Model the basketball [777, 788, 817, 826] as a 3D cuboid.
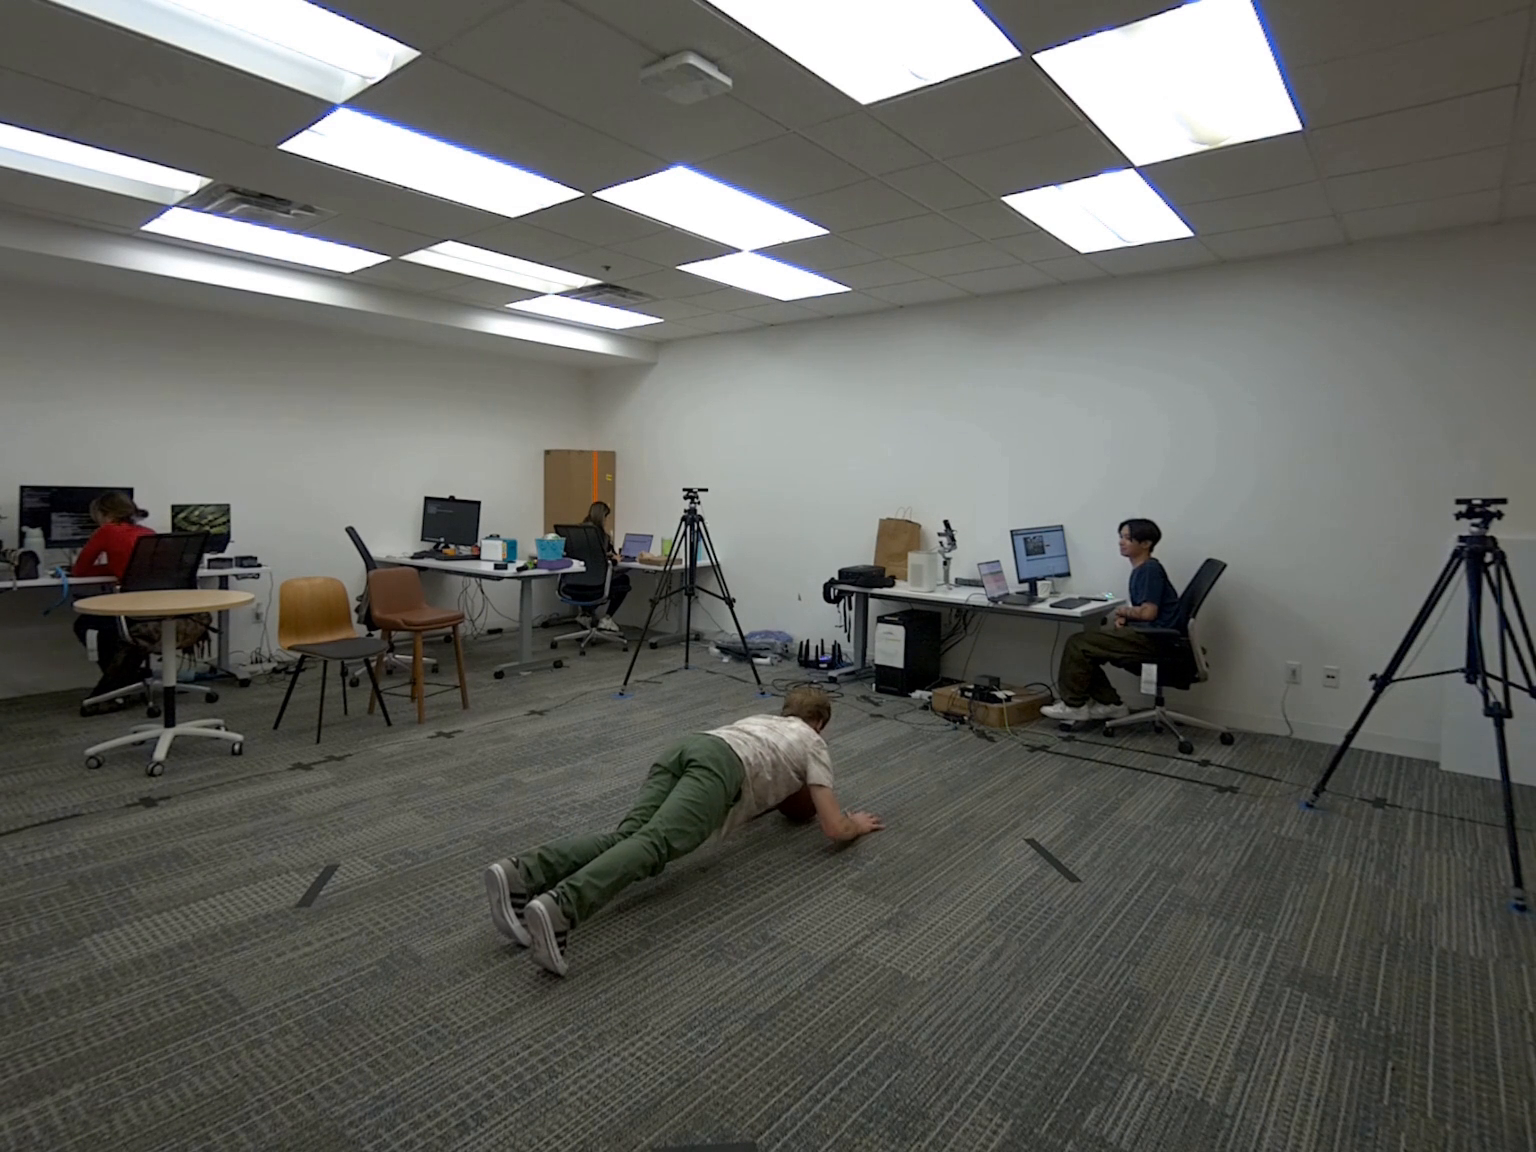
[{"bbox_3d":[0.118,0.908,3.611,0.235,0.235,0.237,1,4,-2],"label":"basketball"}]
